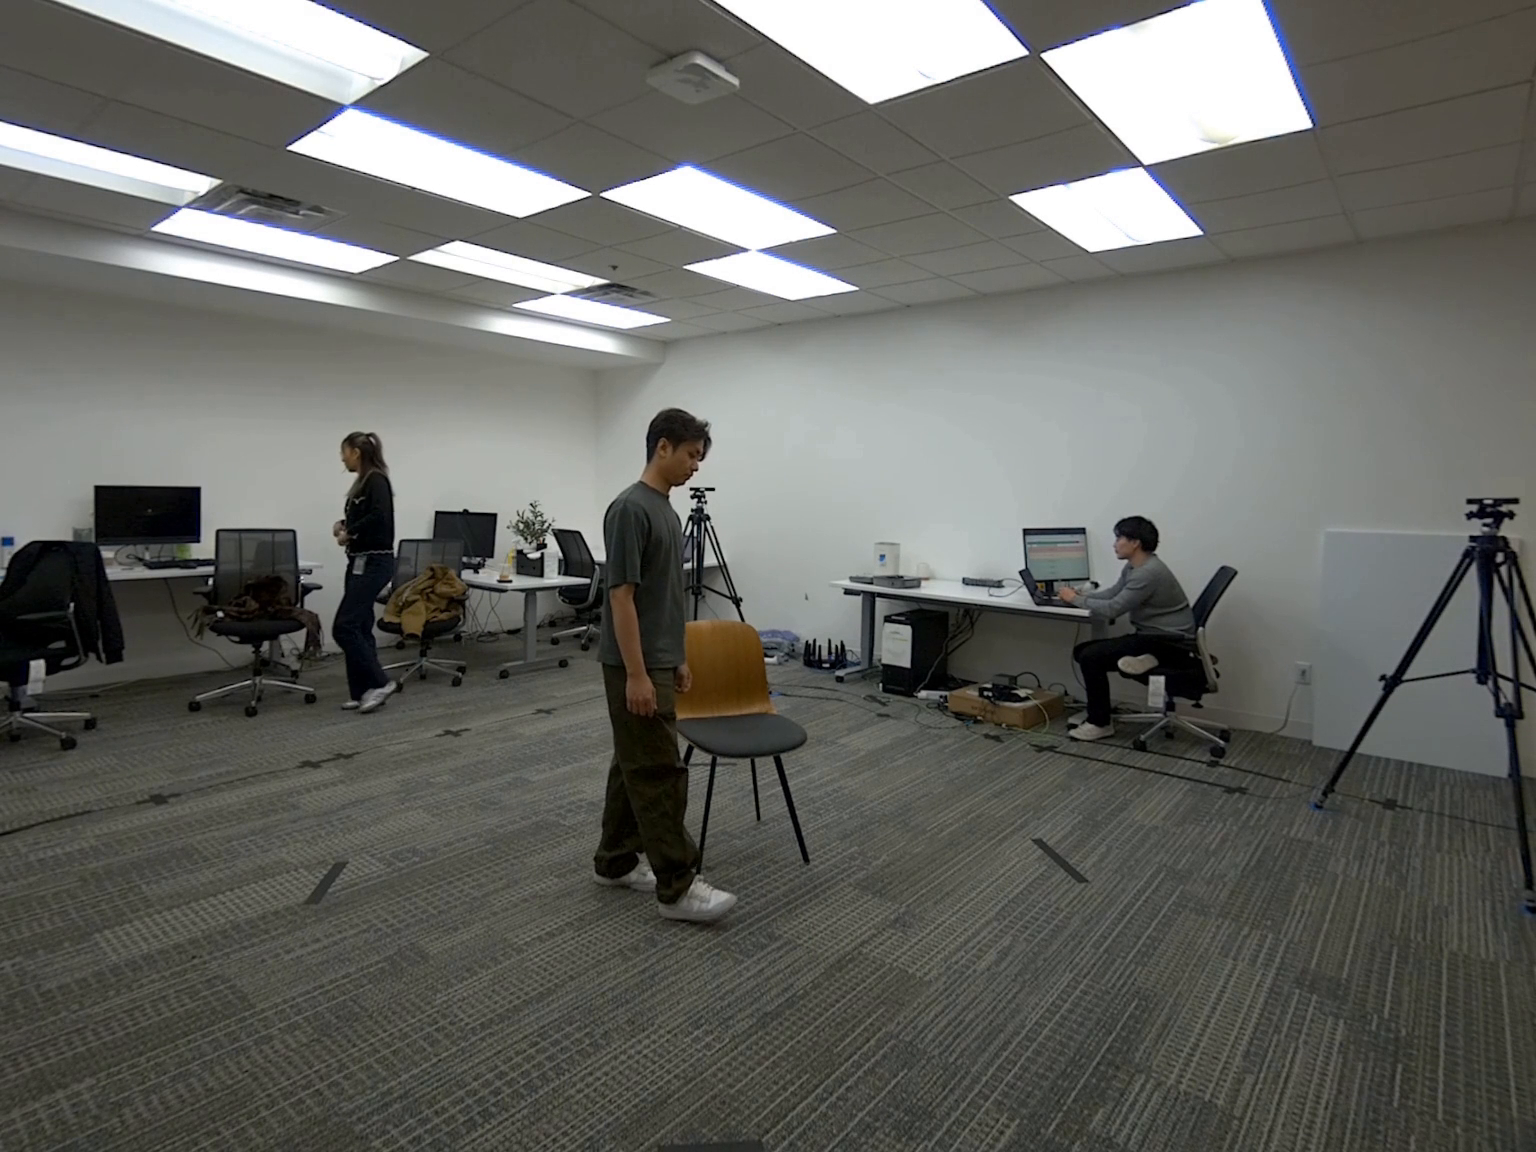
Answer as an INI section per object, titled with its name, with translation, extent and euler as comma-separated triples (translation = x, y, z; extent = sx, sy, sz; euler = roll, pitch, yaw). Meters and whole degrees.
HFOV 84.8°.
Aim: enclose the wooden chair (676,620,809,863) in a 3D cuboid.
[wooden chair]
translation = -0.139, 0.621, 3.266
extent = 0.467, 0.878, 0.534
euler = 0, -1, -23
